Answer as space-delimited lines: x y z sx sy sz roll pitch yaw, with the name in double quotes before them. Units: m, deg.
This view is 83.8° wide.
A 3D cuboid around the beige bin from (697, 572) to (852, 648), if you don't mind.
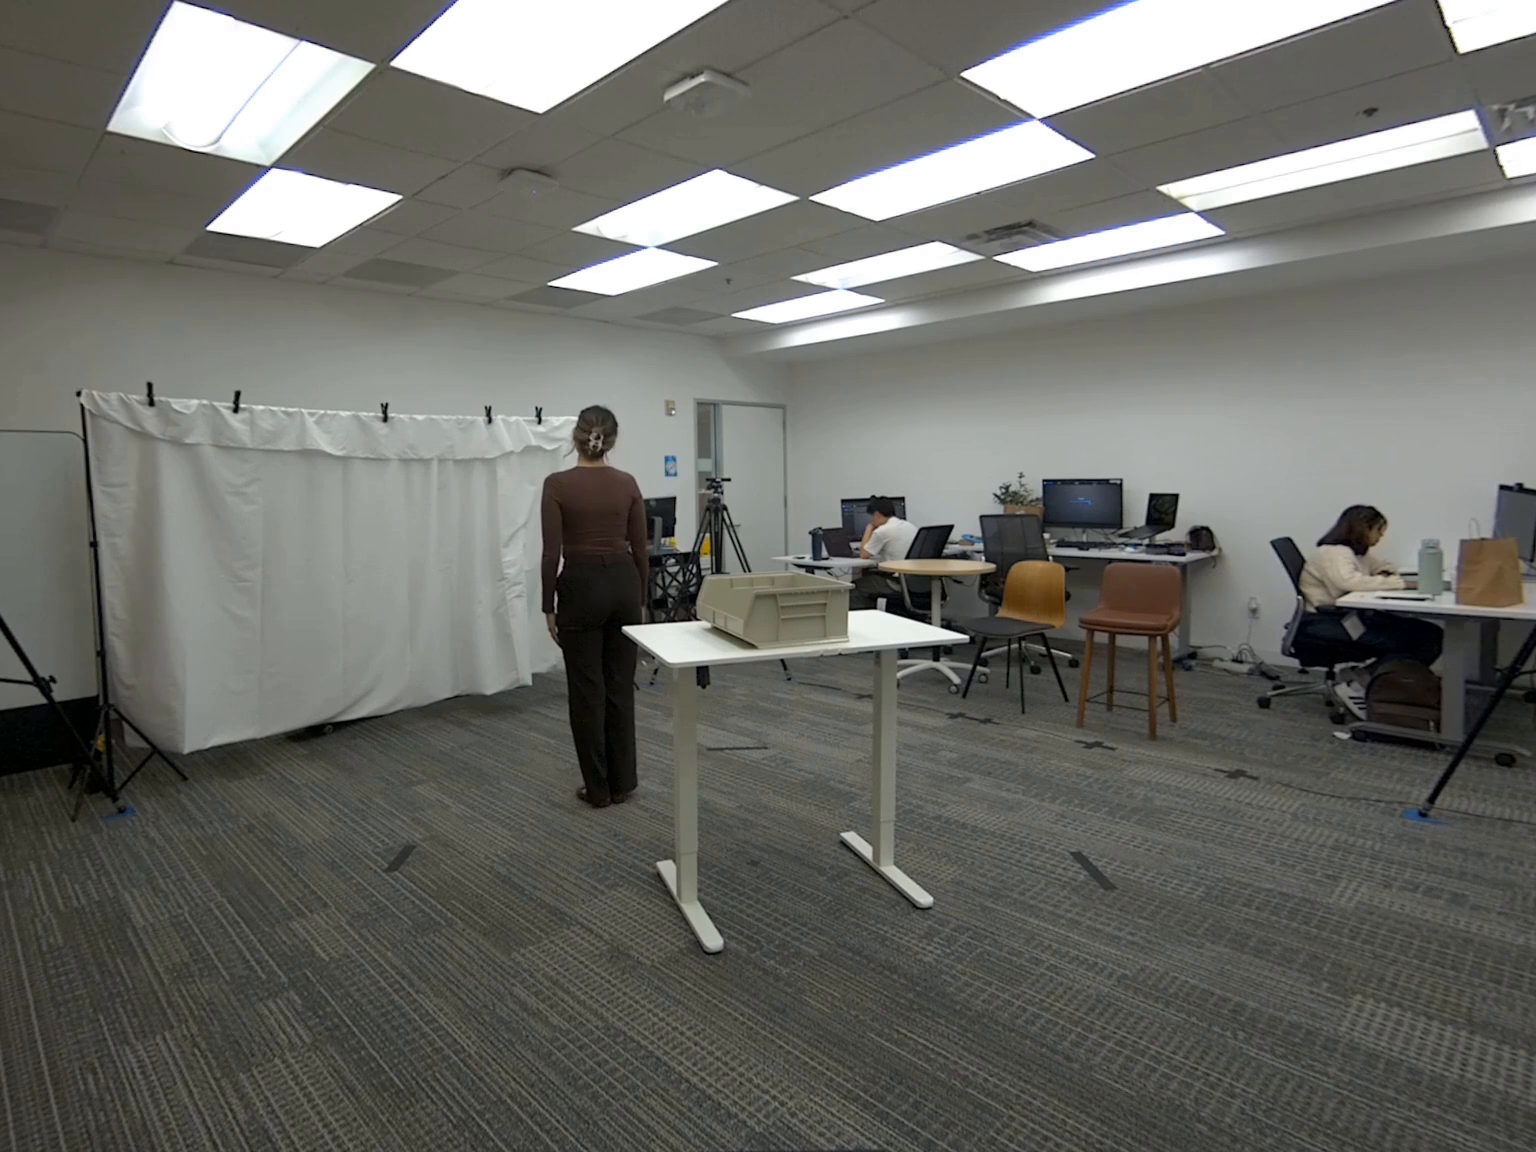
"beige bin" 0.016 0.104 2.790 0.370 0.188 0.432 -2 6 -23
